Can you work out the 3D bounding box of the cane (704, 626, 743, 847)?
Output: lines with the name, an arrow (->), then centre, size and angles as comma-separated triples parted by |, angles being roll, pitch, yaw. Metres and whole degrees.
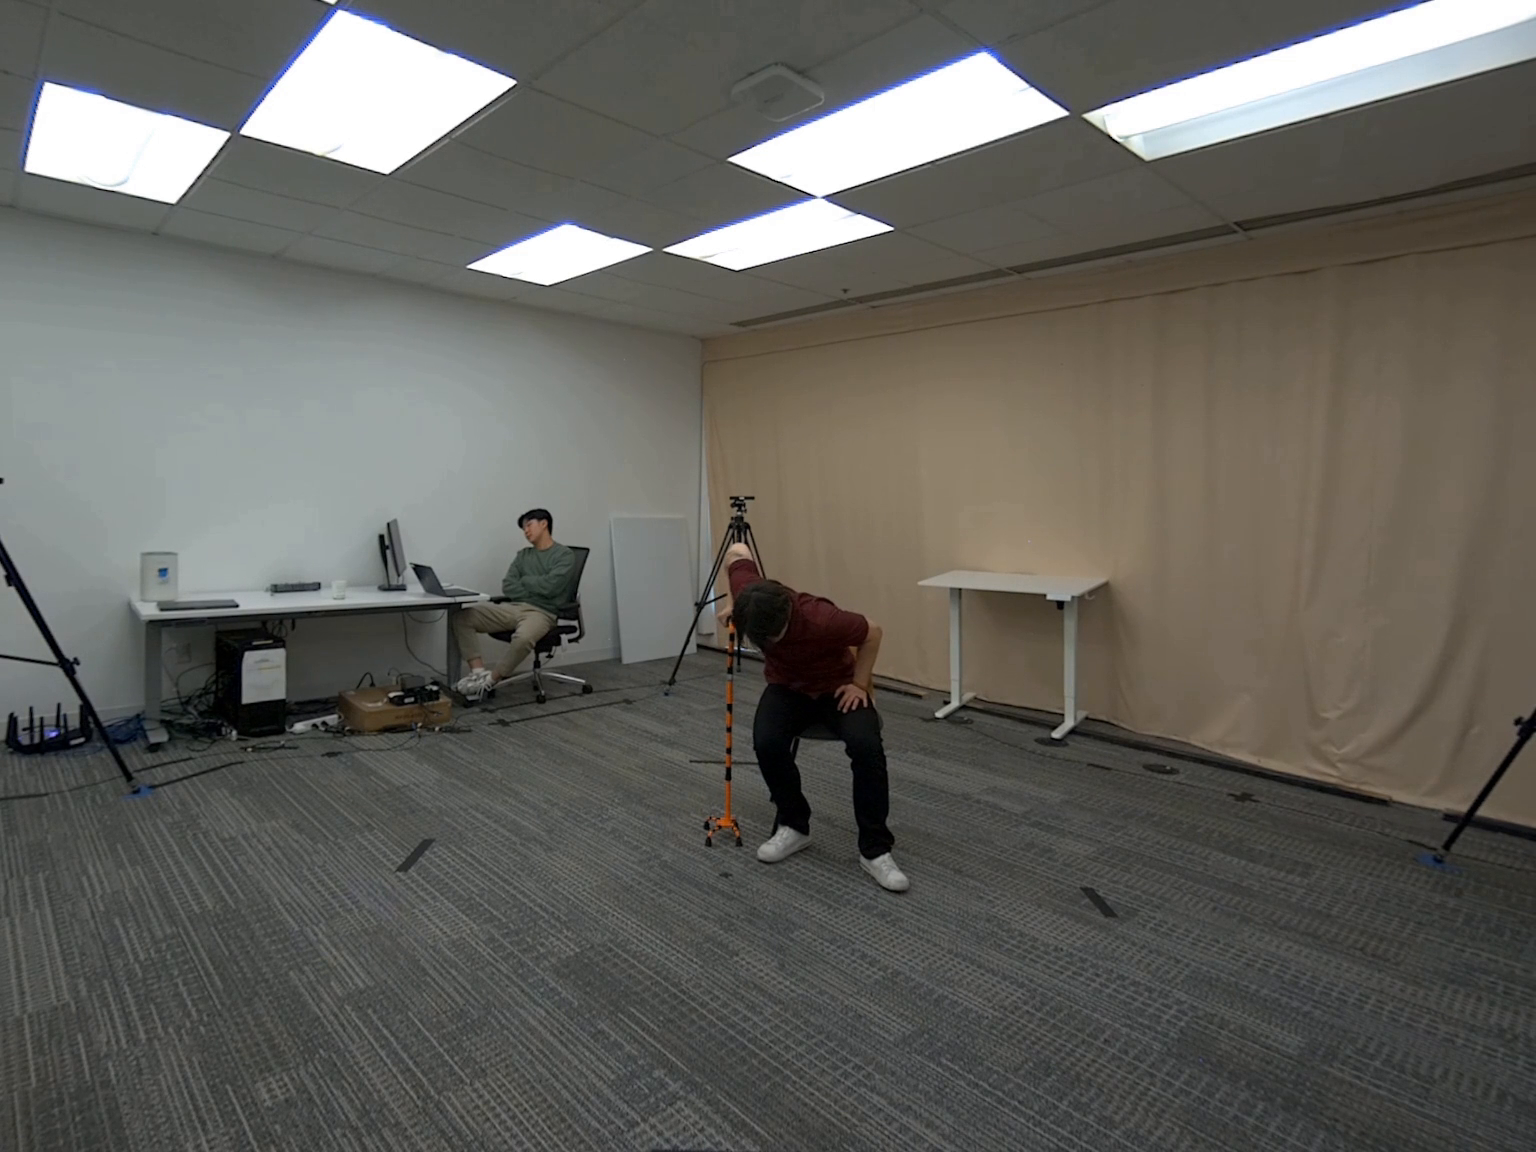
cane -> -0.181, 0.621, 3.444 | 0.151, 0.906, 0.207 | 1, 2, -5
